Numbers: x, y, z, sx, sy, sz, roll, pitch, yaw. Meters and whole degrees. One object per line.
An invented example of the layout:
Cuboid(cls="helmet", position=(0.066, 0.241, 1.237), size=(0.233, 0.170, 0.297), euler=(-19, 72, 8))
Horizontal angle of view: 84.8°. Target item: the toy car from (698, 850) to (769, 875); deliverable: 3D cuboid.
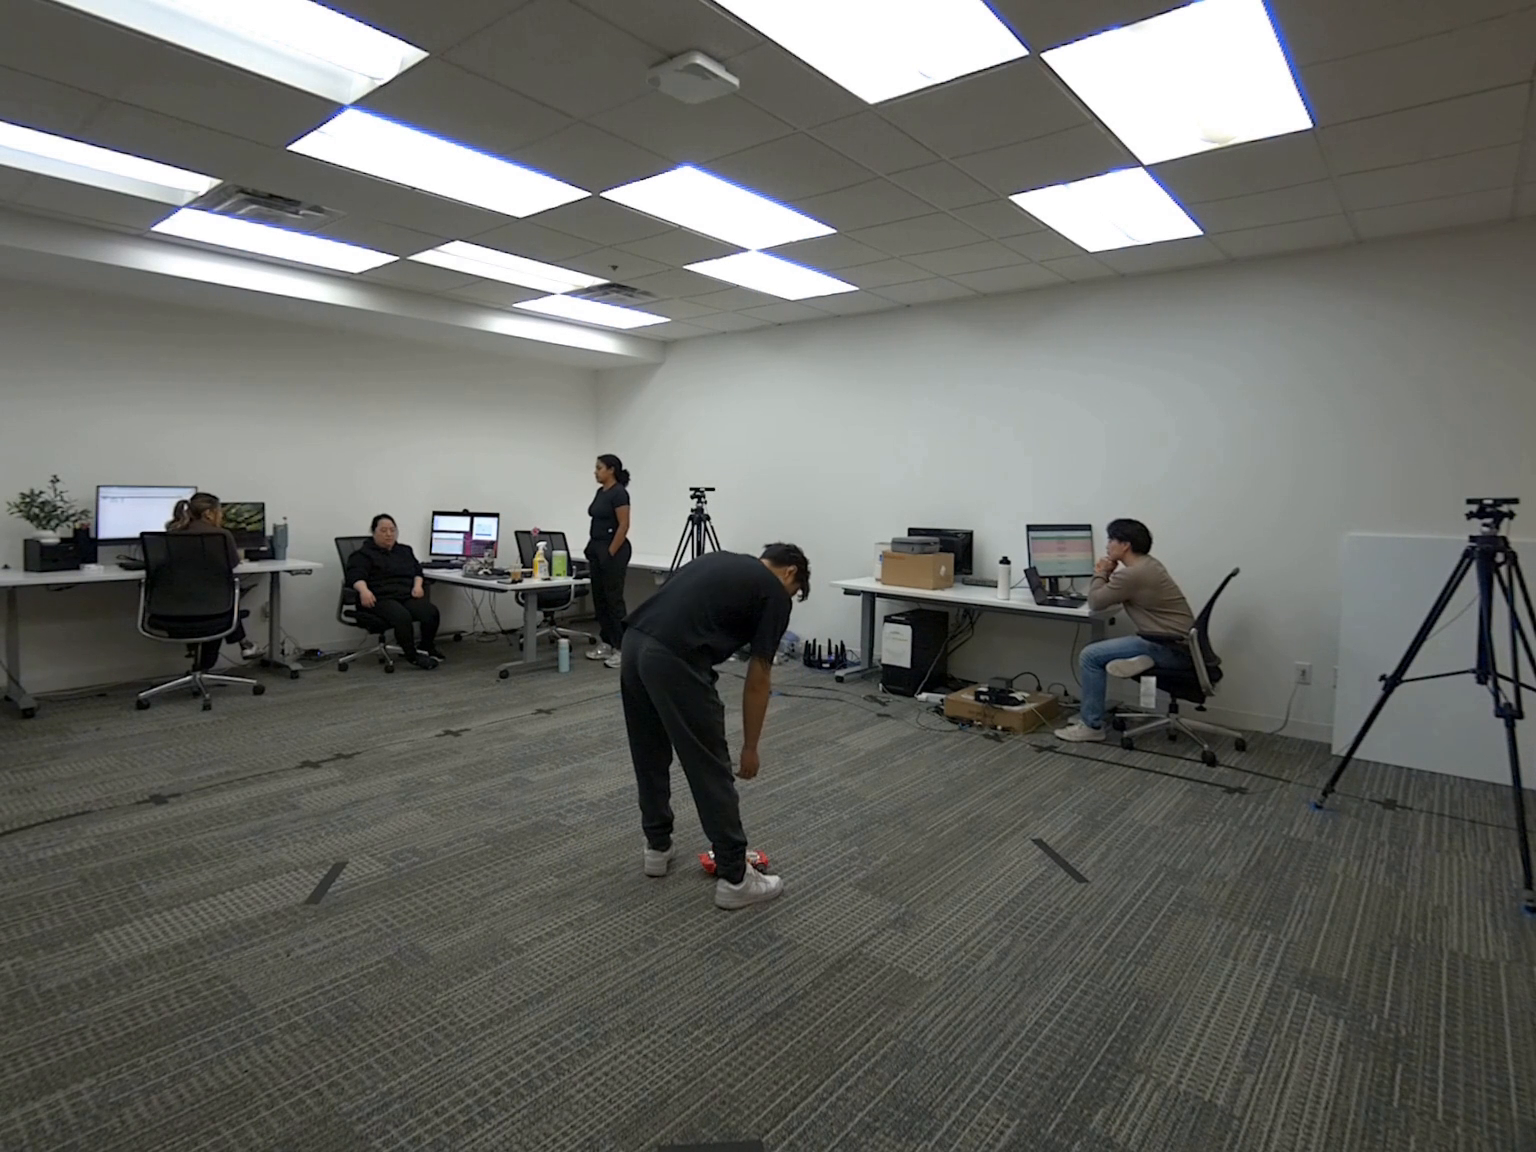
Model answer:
Cuboid(cls="toy car", position=(-0.142, 1.042, 3.089), size=(0.251, 0.083, 0.132), euler=(11, 3, -13))
